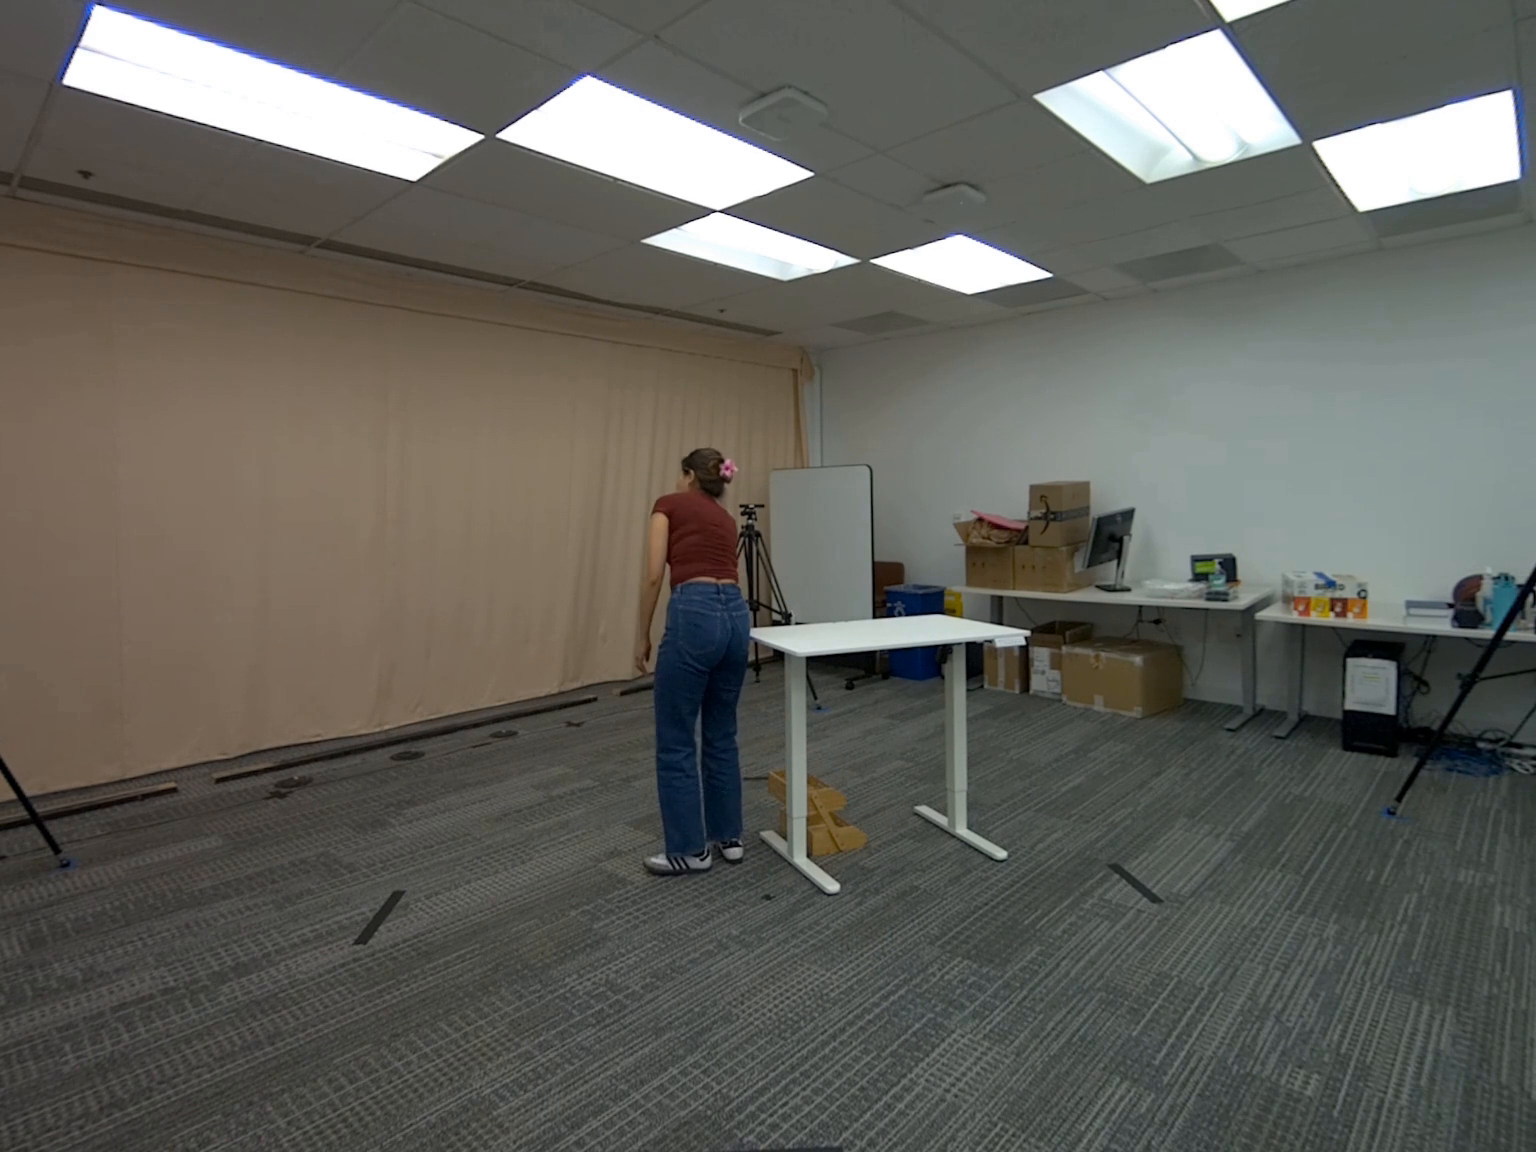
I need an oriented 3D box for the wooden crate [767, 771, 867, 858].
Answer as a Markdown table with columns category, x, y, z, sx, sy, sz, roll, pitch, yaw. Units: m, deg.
| category | x | y | z | sx | sy | sz | roll | pitch | yaw |
| --- | --- | --- | --- | --- | --- | --- | --- | --- | --- |
| wooden crate | 0.208 | 0.965 | 3.492 | 0.295 | 0.273 | 0.332 | -1 | 4 | -23 |
